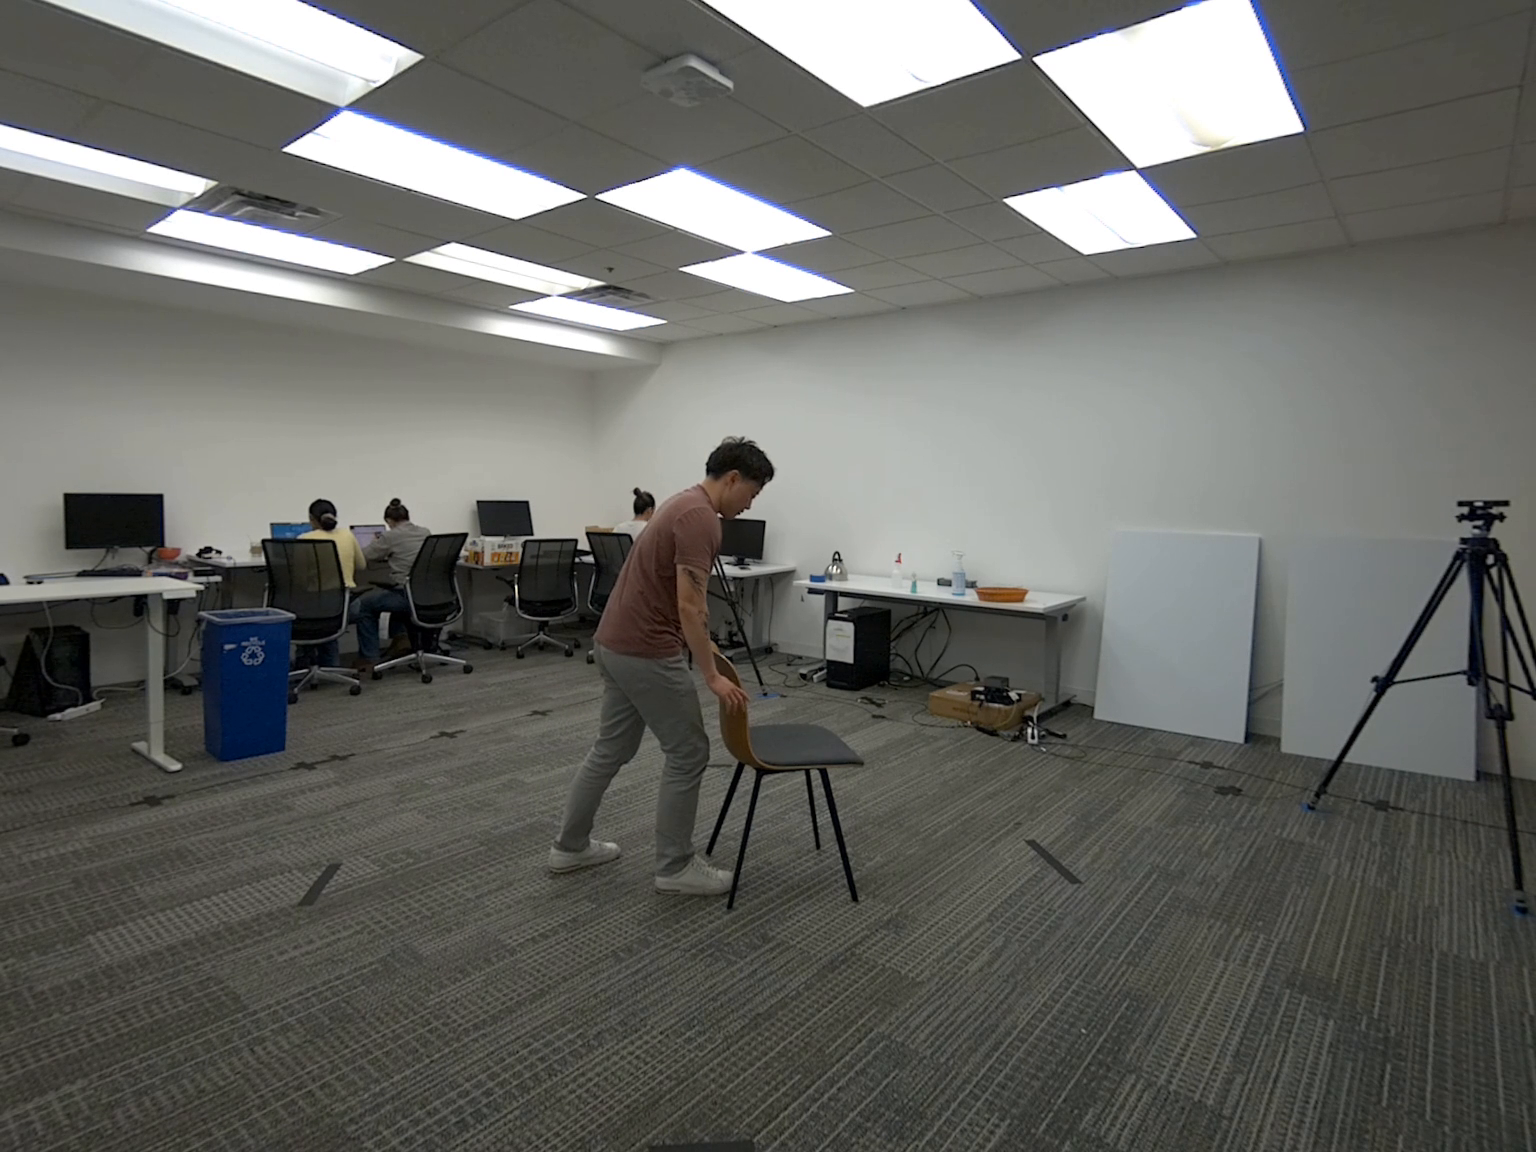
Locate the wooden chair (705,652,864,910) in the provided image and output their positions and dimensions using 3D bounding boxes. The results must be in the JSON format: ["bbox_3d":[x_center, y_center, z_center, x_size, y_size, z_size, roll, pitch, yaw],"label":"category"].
[{"bbox_3d":[0.050,0.659,3.048,0.517,0.875,0.485,-4,3,-12],"label":"wooden chair"}]
